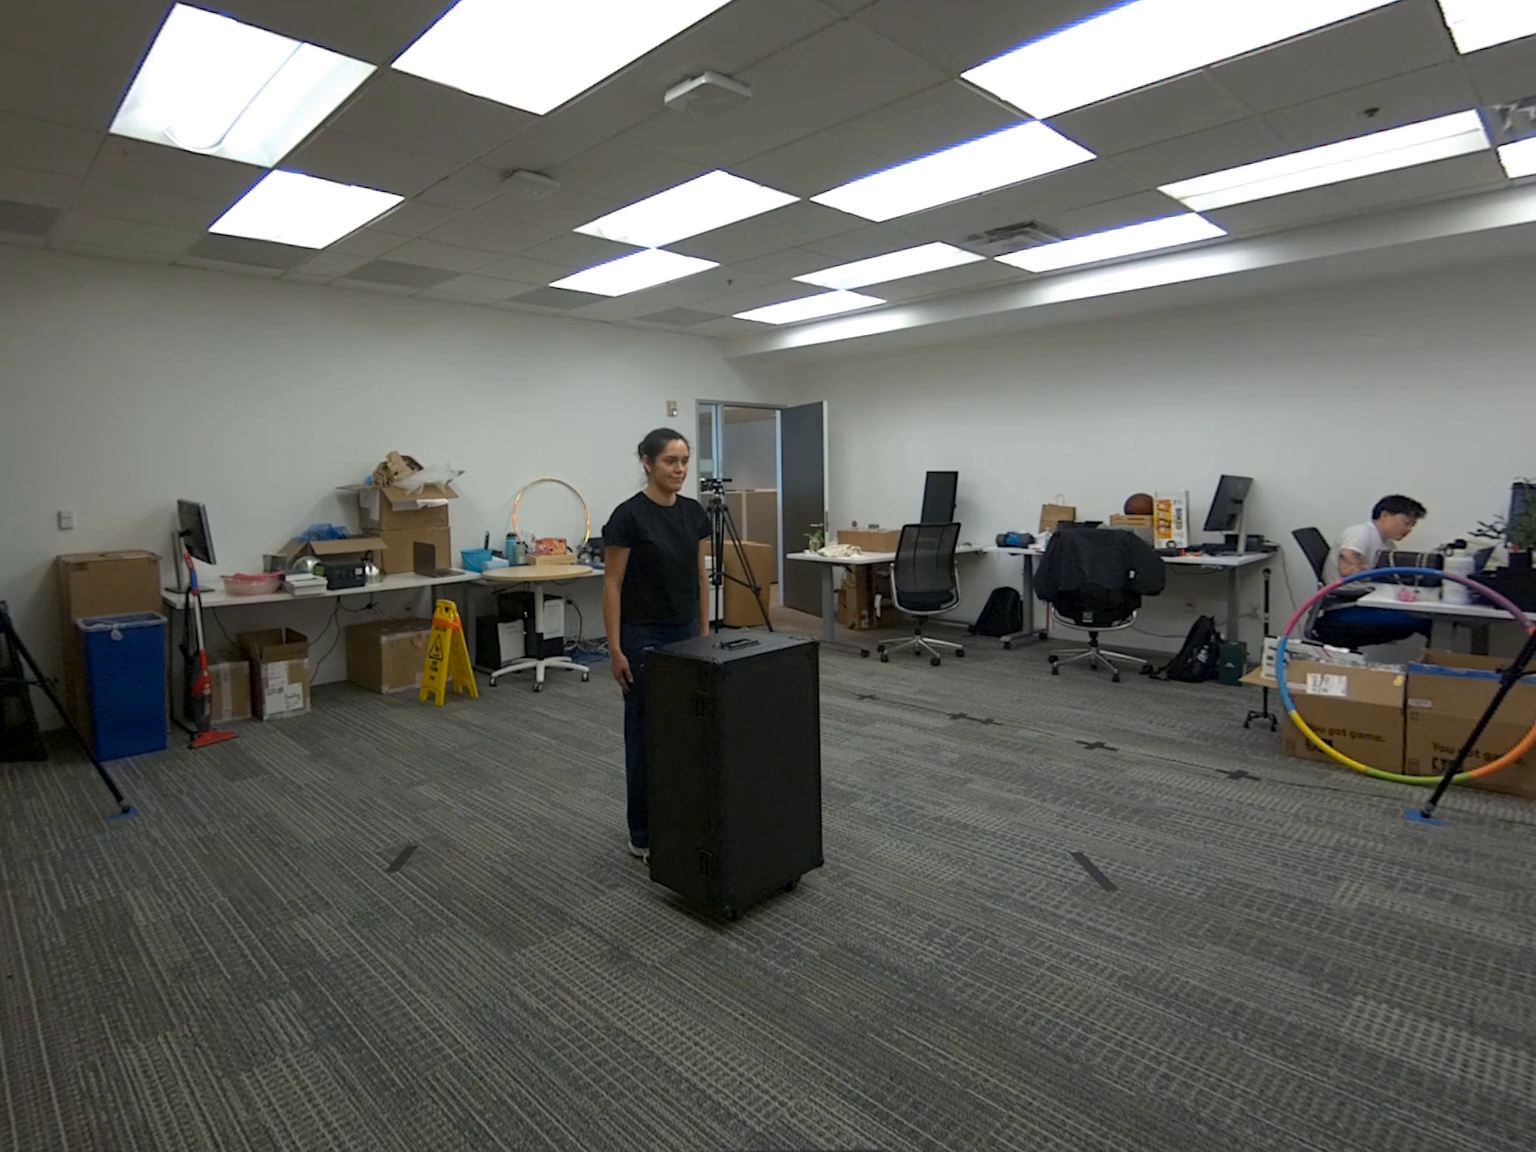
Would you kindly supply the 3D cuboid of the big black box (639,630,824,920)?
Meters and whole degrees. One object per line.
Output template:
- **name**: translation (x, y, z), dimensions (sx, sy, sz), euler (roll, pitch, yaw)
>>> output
- **big black box**: translation (-0.118, 0.647, 2.875), dimensions (0.408, 0.859, 0.507), euler (1, 5, 44)
